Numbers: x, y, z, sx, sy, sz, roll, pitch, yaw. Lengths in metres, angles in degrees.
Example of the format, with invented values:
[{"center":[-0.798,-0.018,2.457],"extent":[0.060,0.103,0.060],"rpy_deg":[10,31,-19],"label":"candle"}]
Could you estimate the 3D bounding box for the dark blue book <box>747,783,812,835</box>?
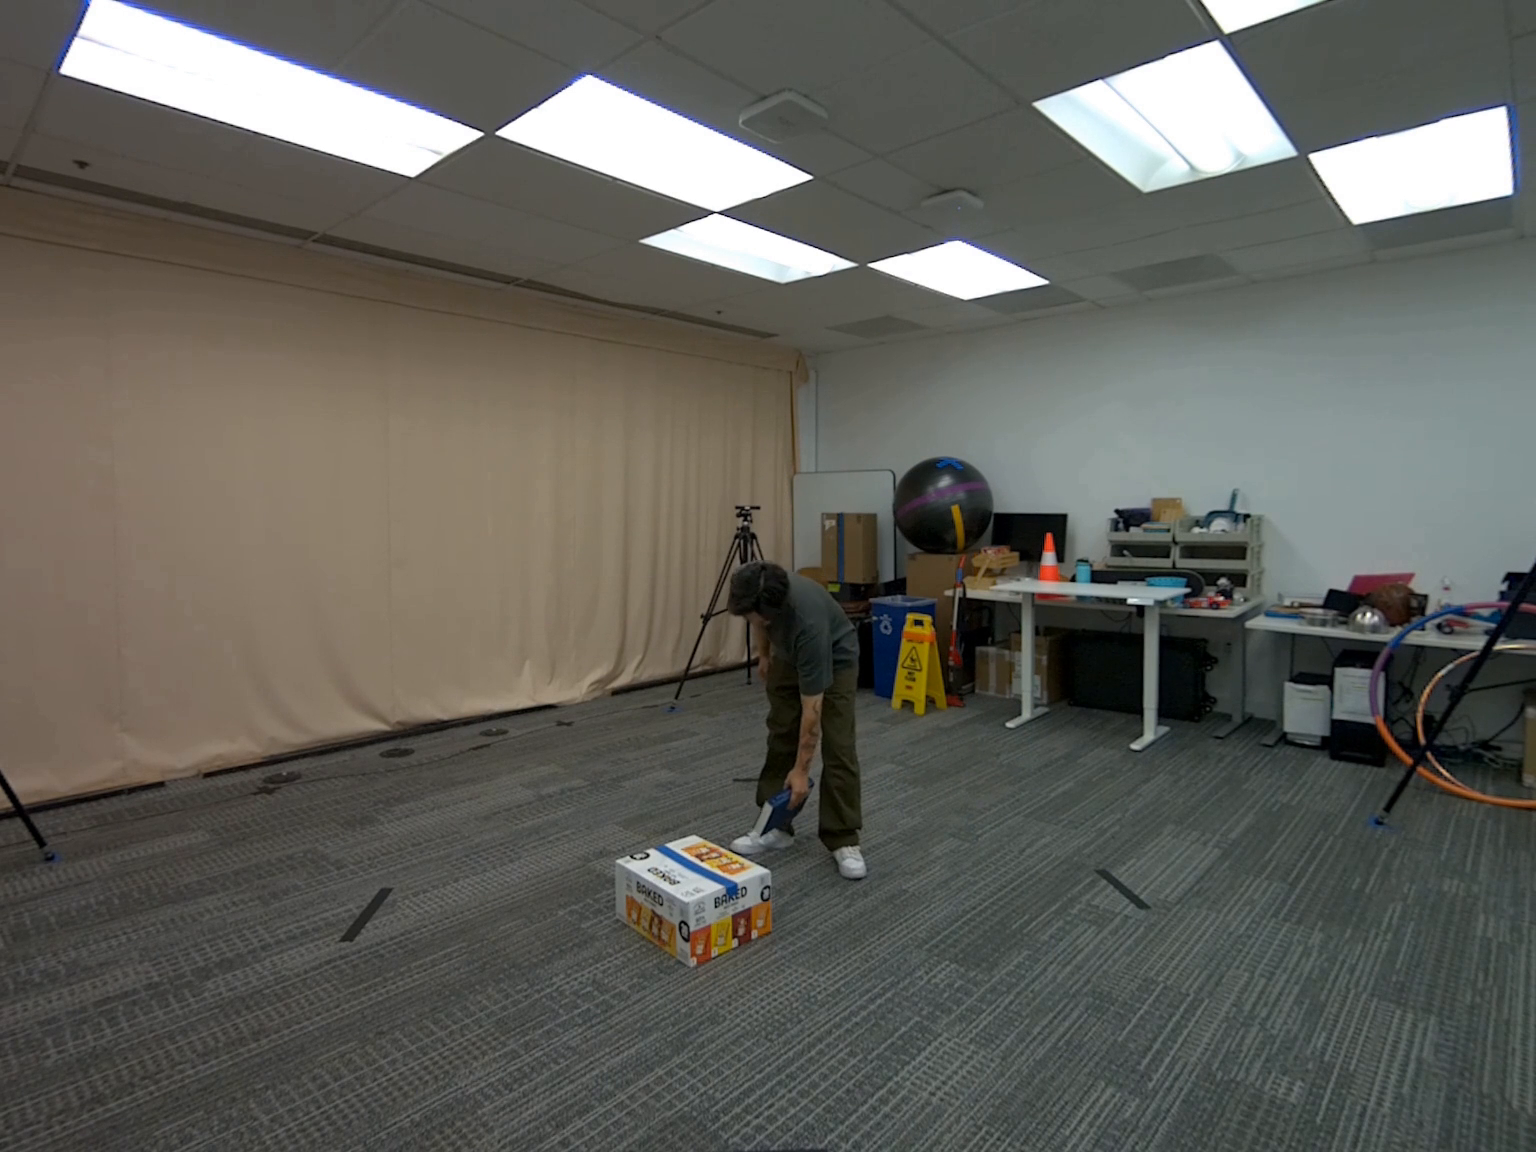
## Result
[{"center":[0.042,0.850,3.123],"extent":[0.047,0.162,0.239],"rpy_deg":[37,34,30],"label":"dark blue book"}]
